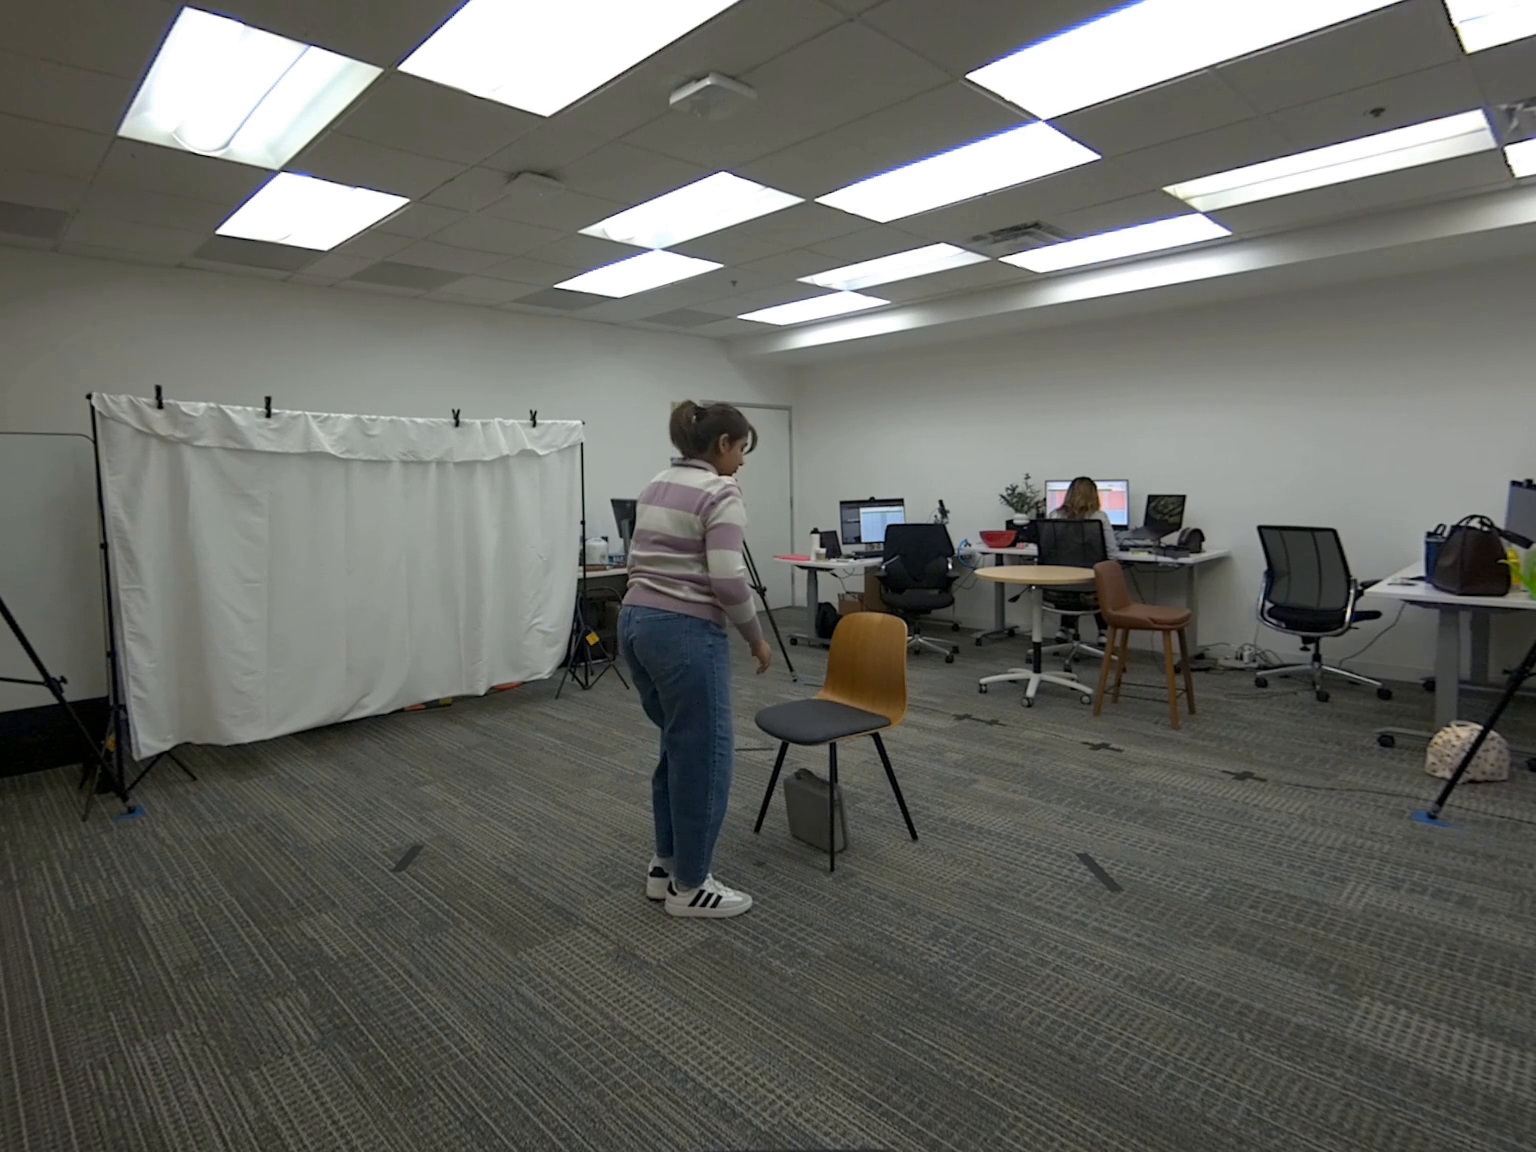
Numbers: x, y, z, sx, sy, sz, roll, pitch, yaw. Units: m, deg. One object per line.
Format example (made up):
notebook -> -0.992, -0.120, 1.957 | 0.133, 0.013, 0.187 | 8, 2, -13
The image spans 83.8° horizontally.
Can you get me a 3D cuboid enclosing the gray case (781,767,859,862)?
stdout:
gray case -> 0.193, 0.899, 3.262 | 0.102, 0.258, 0.264 | -16, 12, -37
